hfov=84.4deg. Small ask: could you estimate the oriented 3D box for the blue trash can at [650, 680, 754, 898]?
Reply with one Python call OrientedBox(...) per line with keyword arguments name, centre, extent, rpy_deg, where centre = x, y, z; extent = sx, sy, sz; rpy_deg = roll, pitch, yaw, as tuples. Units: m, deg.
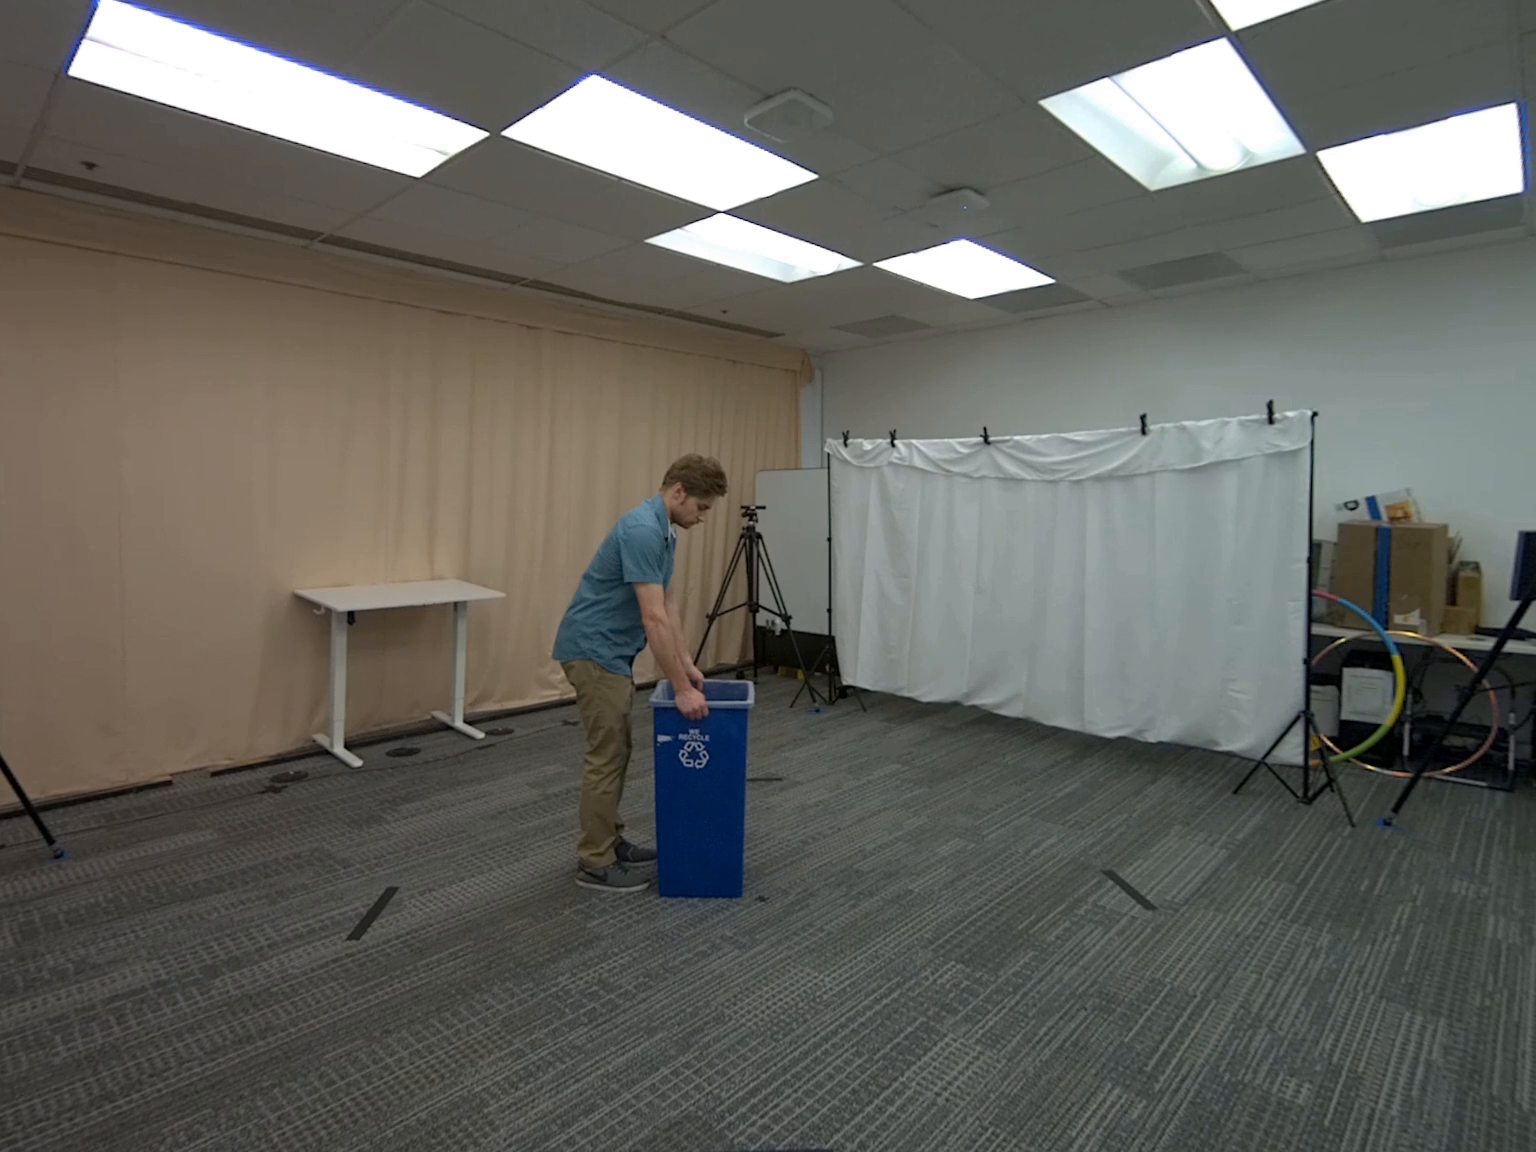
OrientedBox(name="blue trash can", centre=(-0.242, 0.779, 3.111), extent=(0.378, 0.712, 0.375), rpy_deg=(0, 3, -1))
